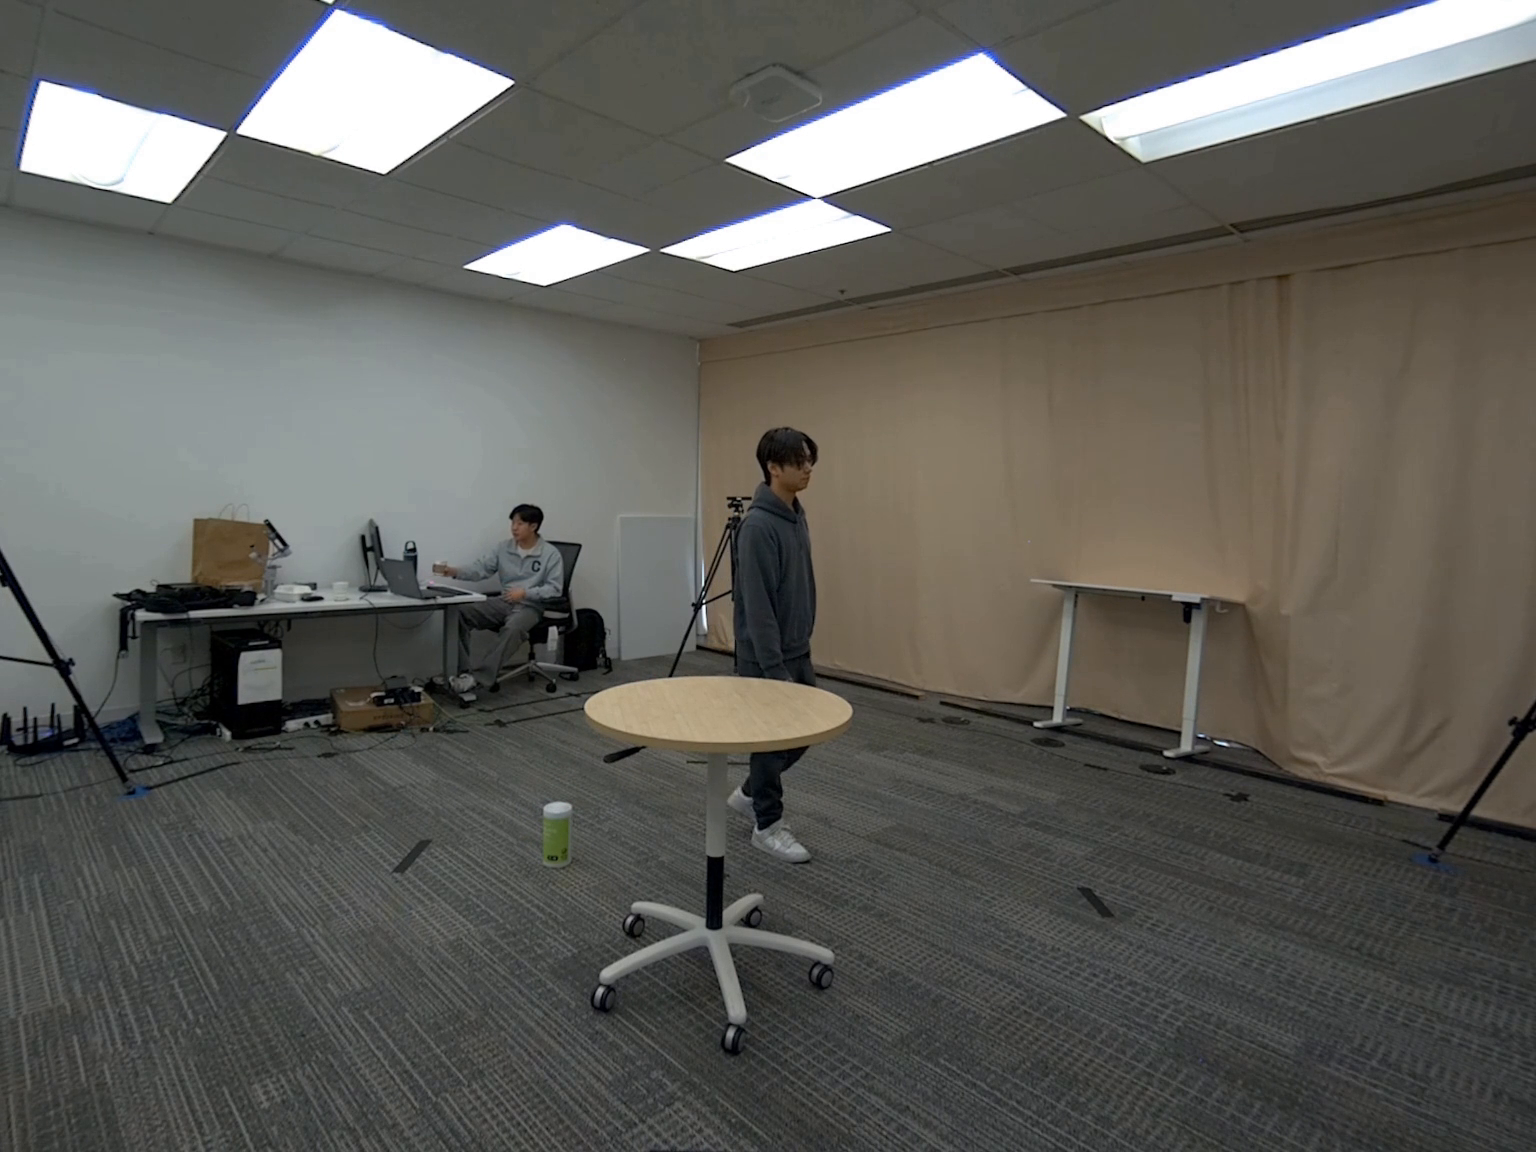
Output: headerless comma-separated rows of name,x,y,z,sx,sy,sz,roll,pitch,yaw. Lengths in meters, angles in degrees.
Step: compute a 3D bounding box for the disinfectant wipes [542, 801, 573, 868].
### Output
disinfectant wipes,-0.802,0.975,3.179,0.118,0.217,0.118,2,3,-1
